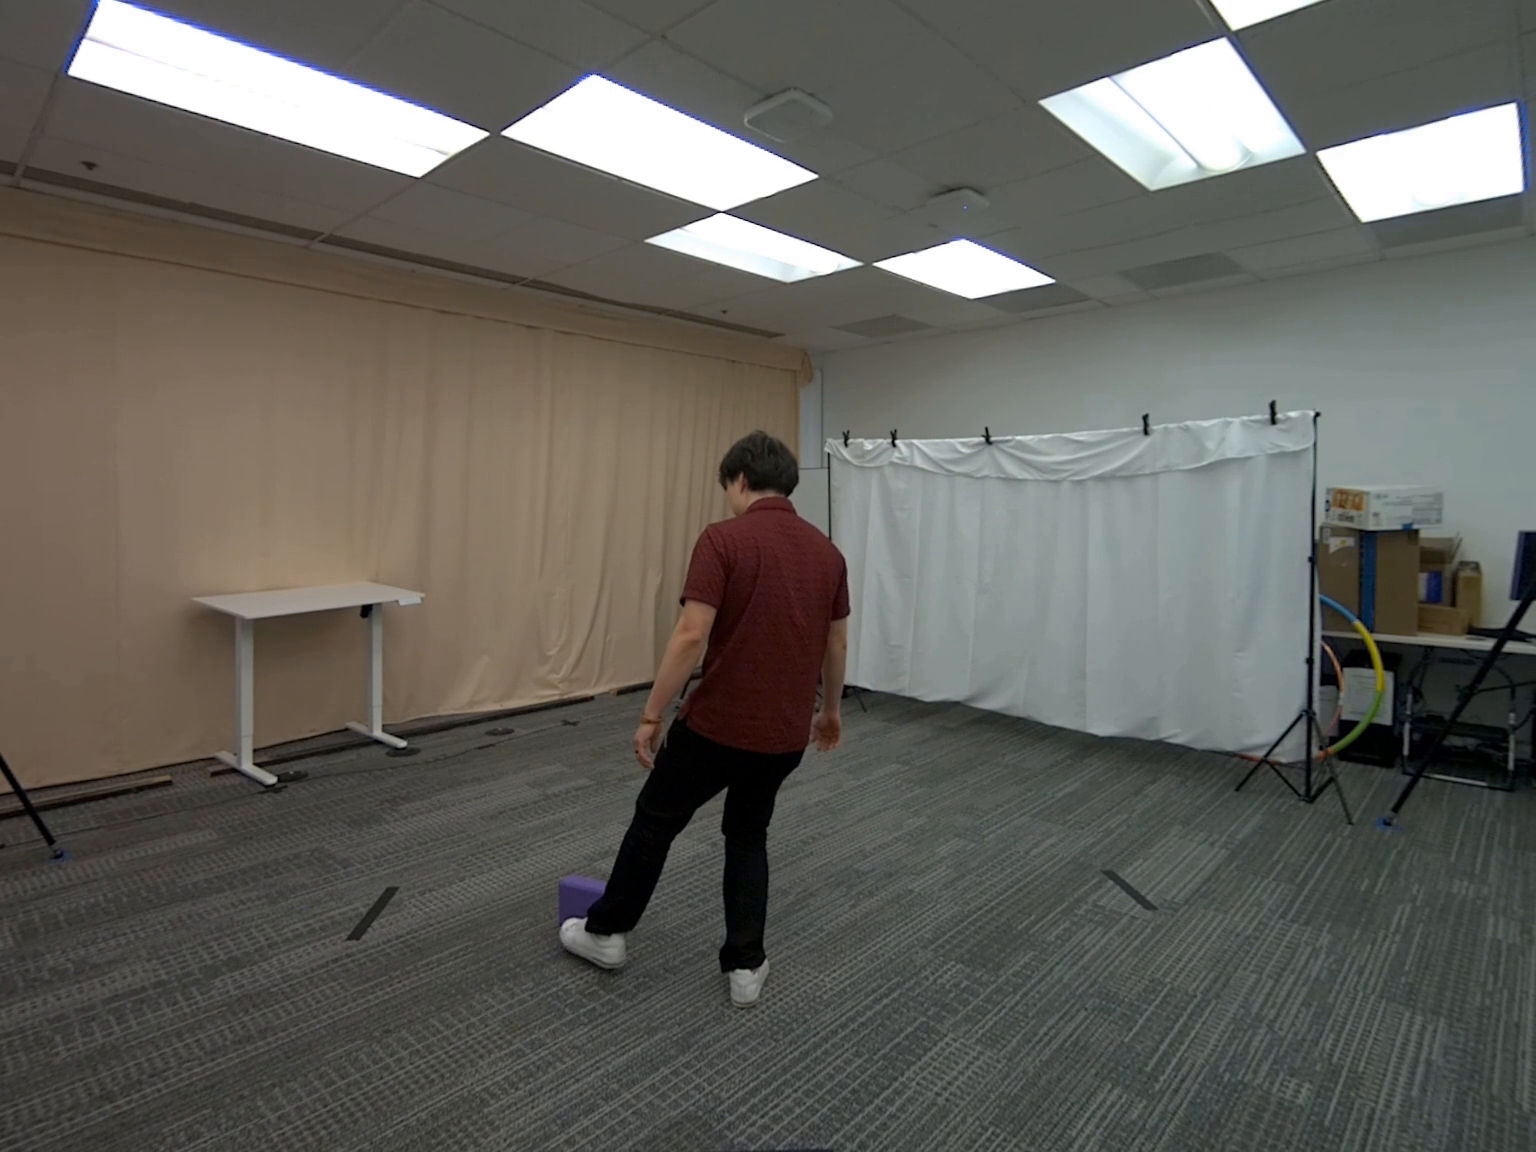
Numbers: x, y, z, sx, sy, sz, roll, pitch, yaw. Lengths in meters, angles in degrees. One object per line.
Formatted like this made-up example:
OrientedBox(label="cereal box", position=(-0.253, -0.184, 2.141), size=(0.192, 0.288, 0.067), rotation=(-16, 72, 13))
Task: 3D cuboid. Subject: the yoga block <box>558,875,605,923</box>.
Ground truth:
OrientedBox(label="yoga block", position=(-0.583, 1.090, 2.781), size=(0.235, 0.149, 0.074), rotation=(0, 2, 25))
